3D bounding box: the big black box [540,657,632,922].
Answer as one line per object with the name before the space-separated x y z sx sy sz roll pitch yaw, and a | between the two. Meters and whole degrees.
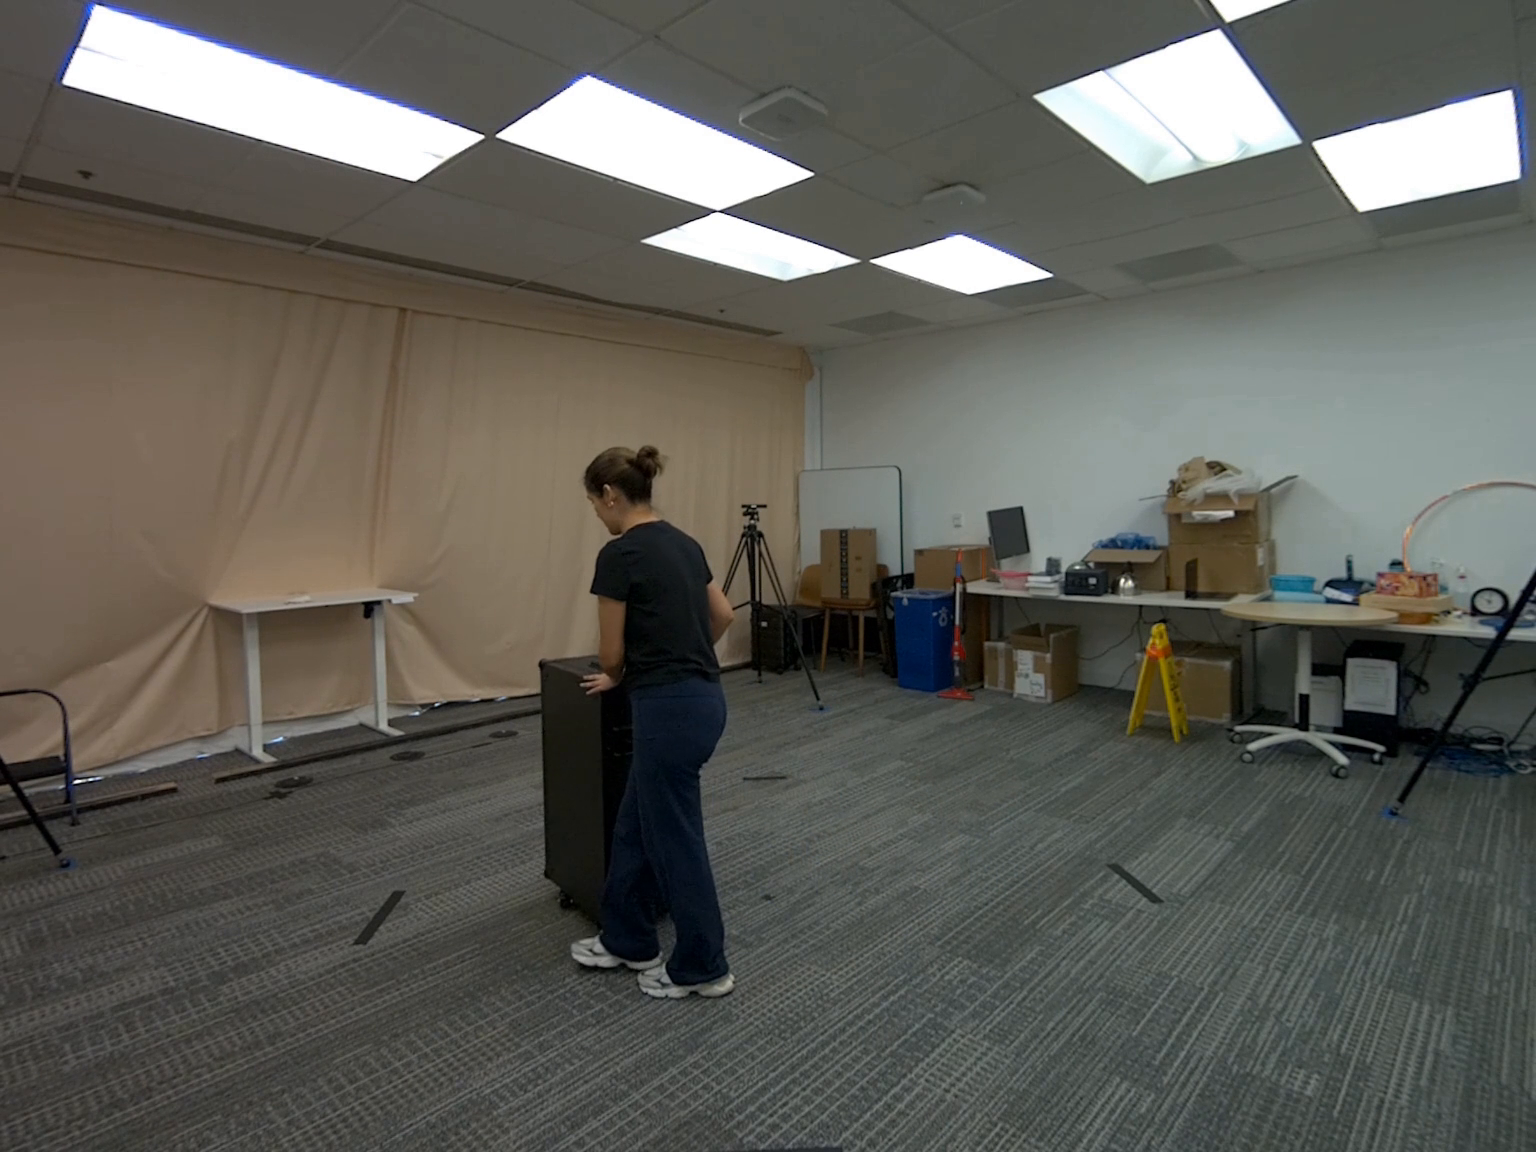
big black box | -0.510 0.731 2.935 0.384 0.860 0.538 -2 3 -37
